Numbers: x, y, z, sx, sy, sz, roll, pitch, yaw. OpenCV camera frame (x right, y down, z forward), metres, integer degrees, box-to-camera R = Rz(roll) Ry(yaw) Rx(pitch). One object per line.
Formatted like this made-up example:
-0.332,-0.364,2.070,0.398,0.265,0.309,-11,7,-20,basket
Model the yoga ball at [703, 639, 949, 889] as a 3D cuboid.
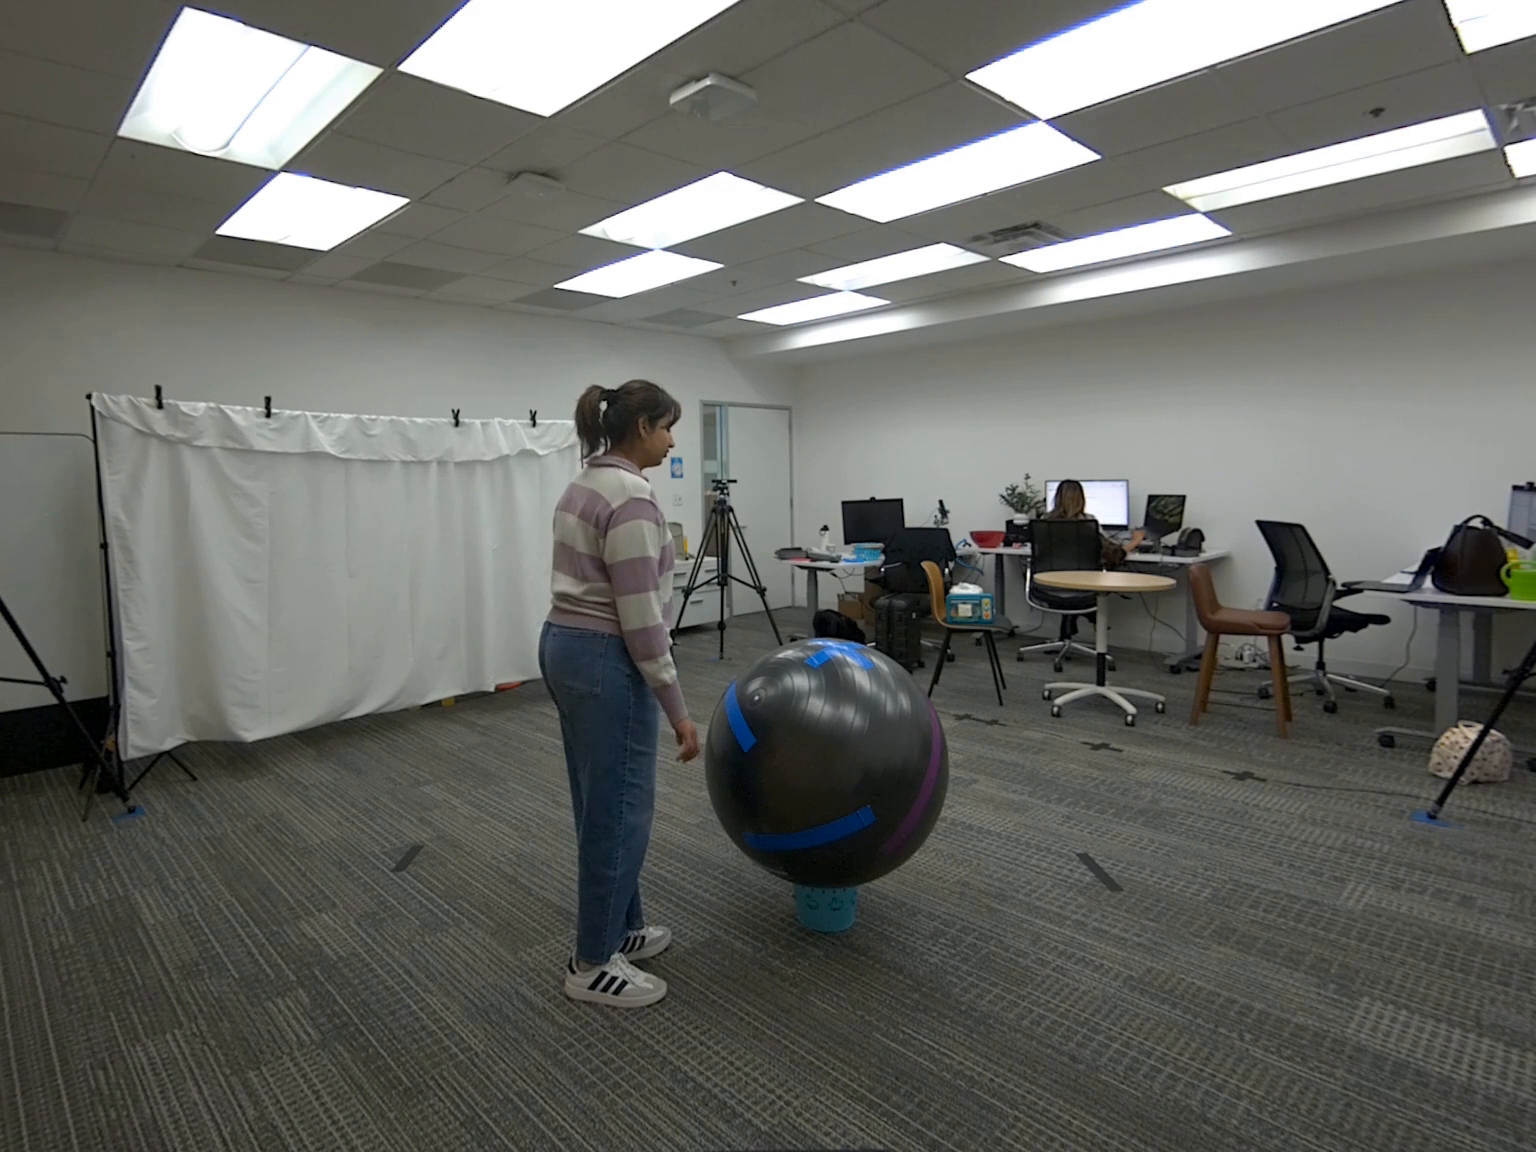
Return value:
0.182,0.583,2.684,0.757,0.755,0.762,-1,5,-2,yoga ball
